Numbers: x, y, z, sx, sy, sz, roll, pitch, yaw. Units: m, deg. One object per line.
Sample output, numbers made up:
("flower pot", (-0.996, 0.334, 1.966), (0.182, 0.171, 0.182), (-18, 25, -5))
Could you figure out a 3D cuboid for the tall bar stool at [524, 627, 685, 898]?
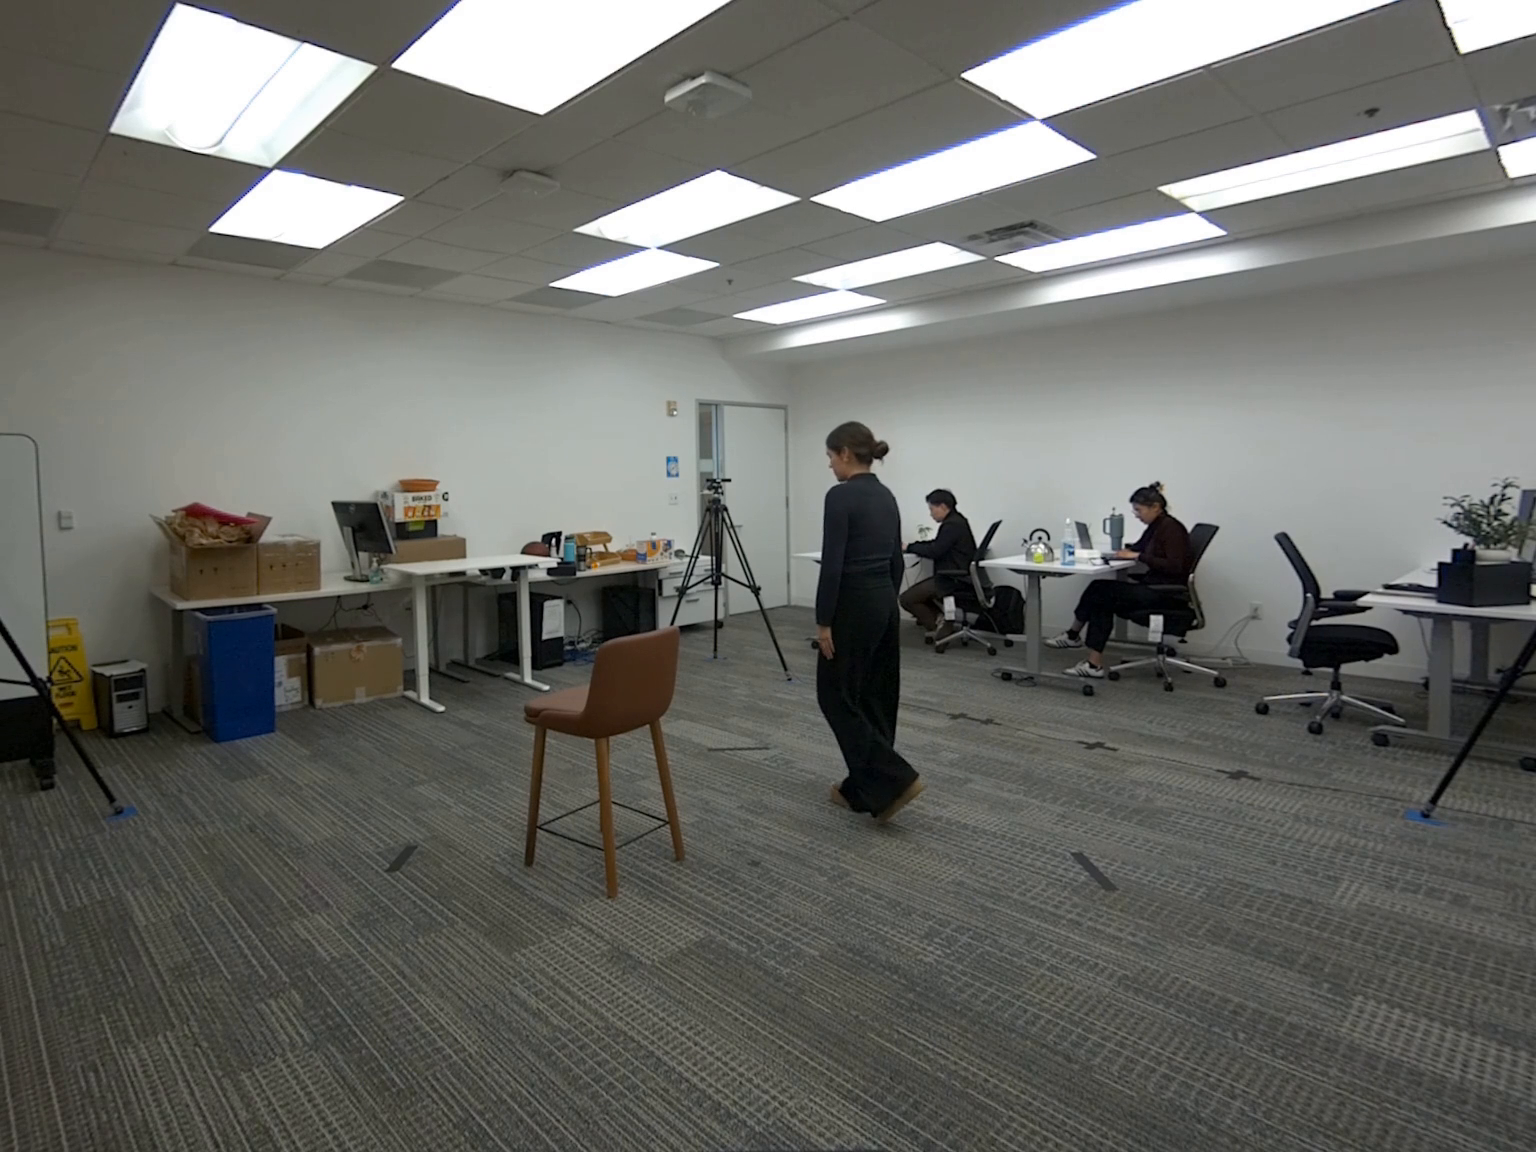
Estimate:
("tall bar stool", (-0.601, 0.620, 3.116), (0.482, 0.886, 0.445), (4, 6, 37))
